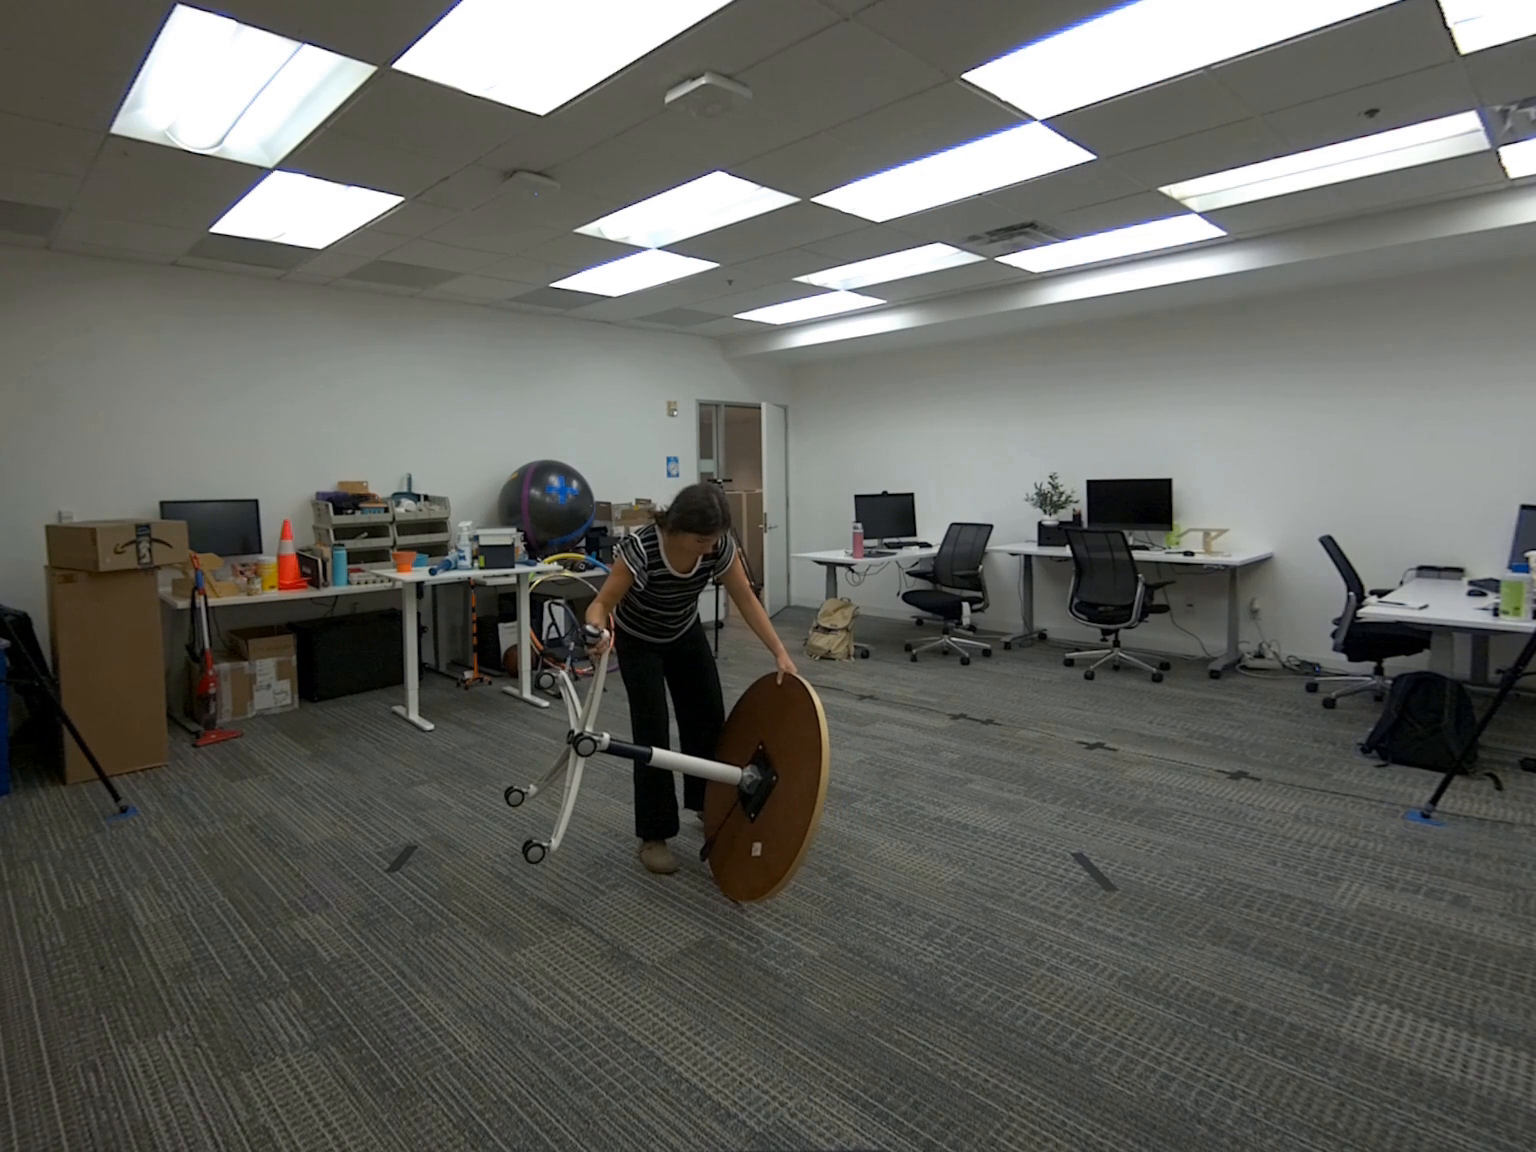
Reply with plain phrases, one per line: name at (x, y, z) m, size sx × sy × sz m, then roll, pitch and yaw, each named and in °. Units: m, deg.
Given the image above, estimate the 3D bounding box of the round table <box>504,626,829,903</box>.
round table at (-0.344, 0.598, 2.766) m, size 0.773 × 0.766 × 0.783 m, roll 20°, pitch -5°, yaw -25°
